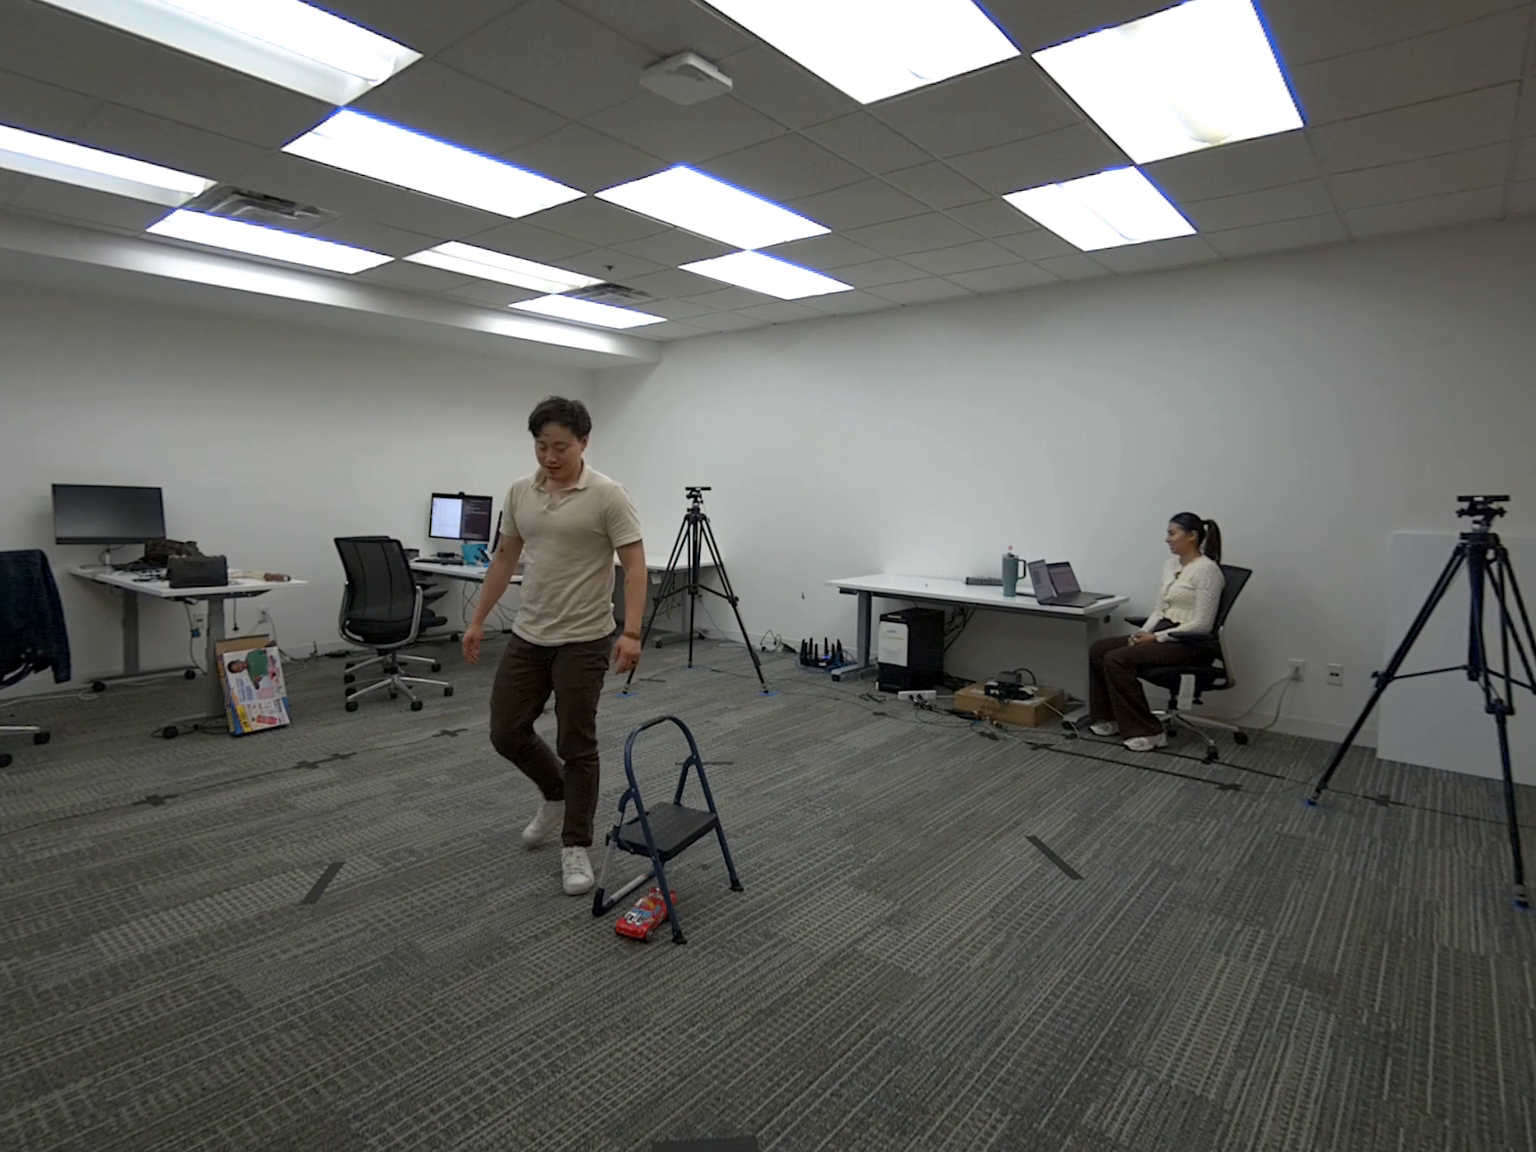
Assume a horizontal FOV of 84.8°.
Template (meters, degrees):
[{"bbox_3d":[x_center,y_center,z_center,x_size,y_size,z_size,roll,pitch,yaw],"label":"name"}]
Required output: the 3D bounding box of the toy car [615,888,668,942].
[{"bbox_3d":[-0.390,1.071,2.701,0.133,0.082,0.252,3,17,22],"label":"toy car"}]
